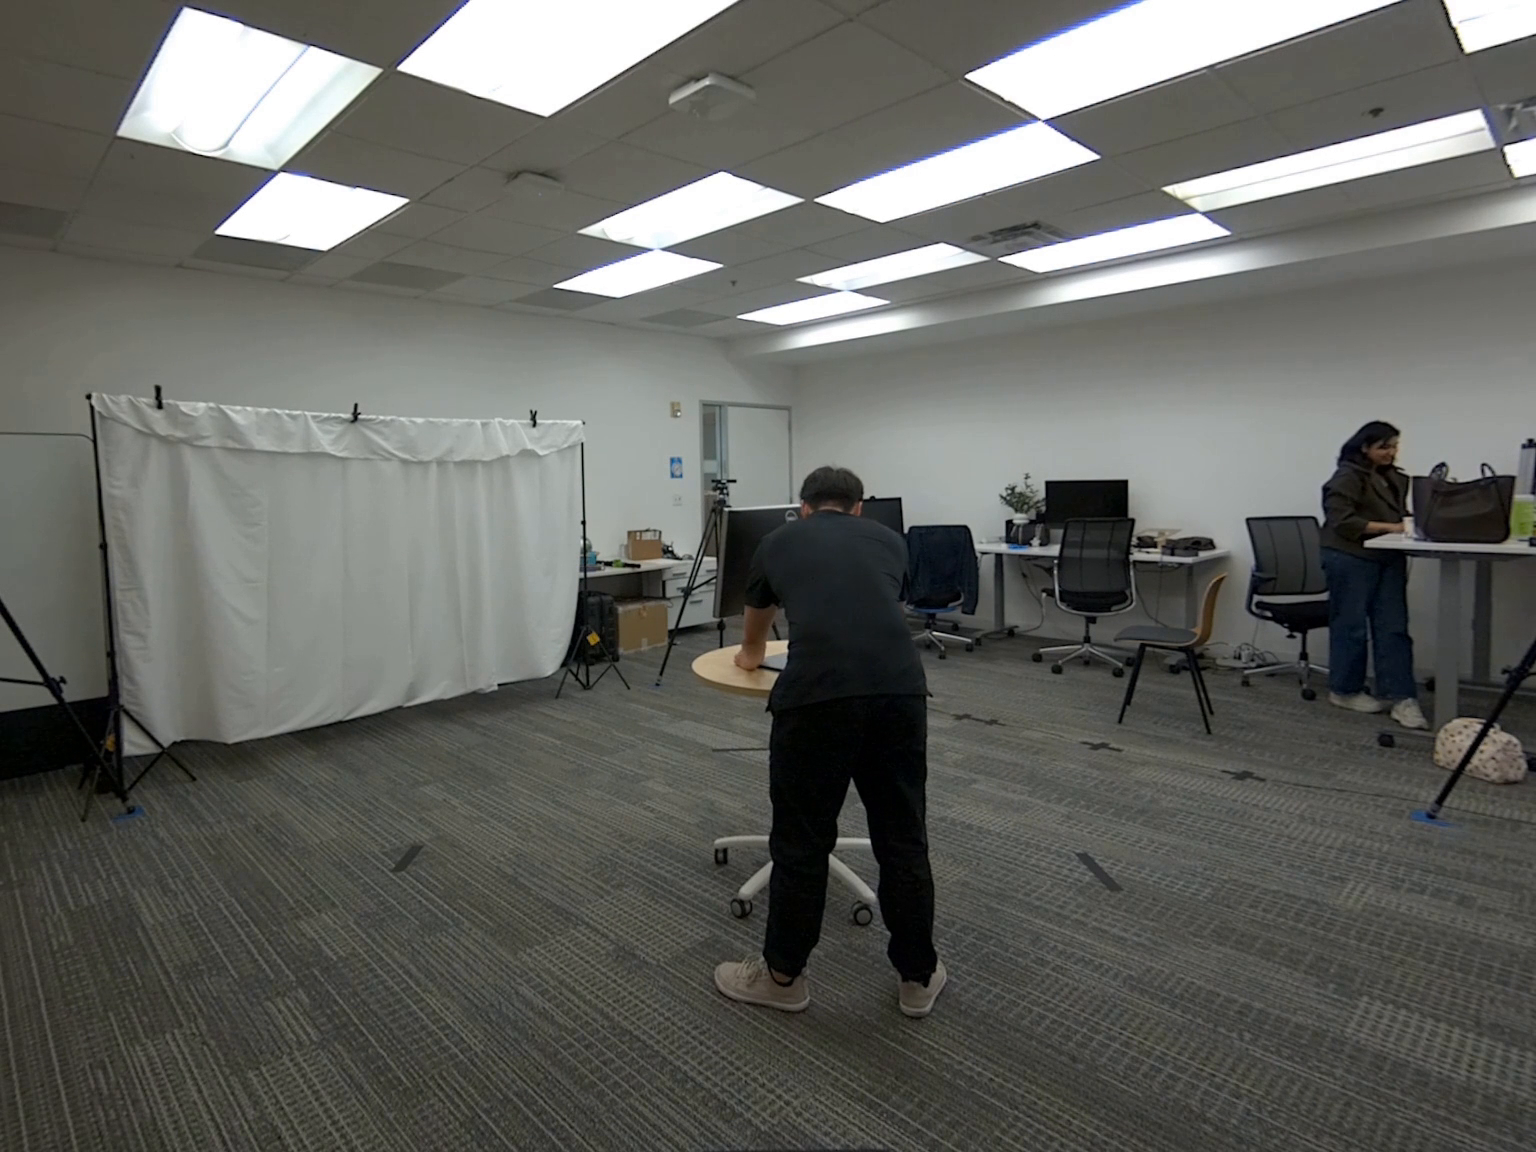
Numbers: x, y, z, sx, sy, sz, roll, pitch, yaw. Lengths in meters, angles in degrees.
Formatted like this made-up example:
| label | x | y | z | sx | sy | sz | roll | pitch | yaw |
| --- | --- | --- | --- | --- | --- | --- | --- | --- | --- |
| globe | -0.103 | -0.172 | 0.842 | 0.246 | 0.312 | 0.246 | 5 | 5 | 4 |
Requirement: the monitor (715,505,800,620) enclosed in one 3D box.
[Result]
| label | x | y | z | sx | sy | sz | roll | pitch | yaw |
| --- | --- | --- | --- | --- | --- | --- | --- | --- | --- |
| monitor | 0.074 | 0.031 | 2.904 | 0.192 | 0.521 | 0.525 | 0 | 4 | 45 |
